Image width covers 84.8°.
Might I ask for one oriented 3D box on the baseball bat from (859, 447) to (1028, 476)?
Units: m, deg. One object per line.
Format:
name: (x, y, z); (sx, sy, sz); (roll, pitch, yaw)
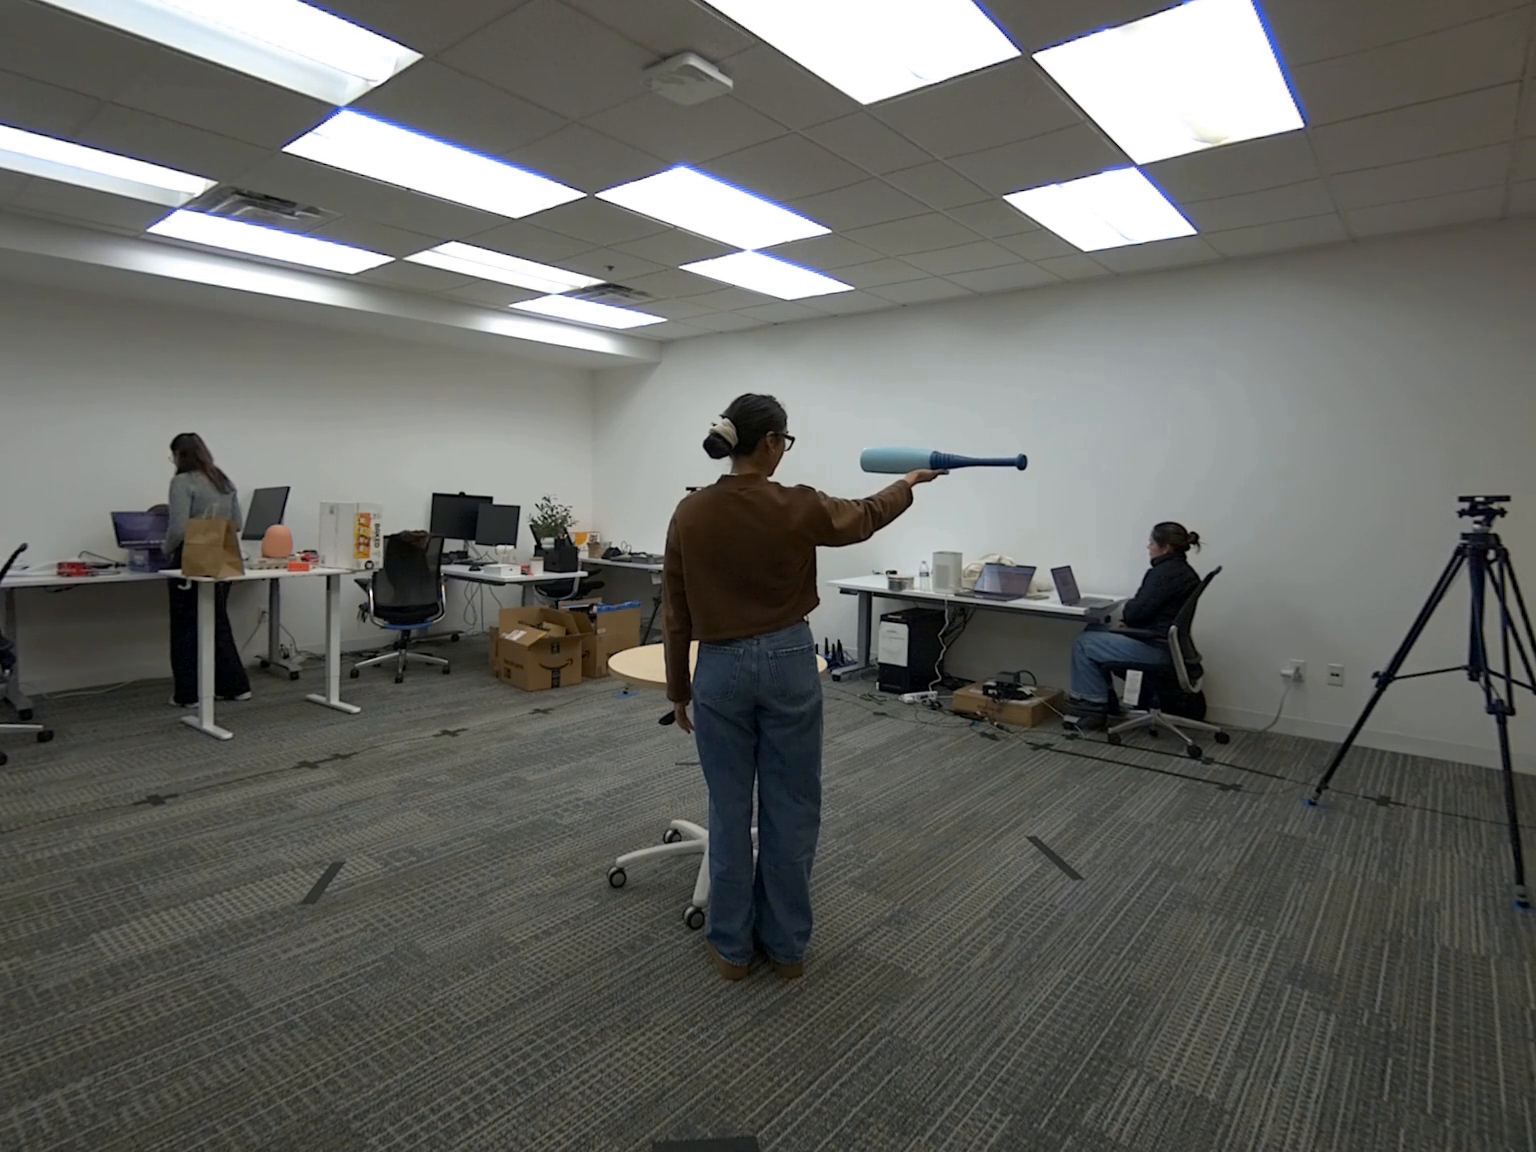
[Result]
baseball bat: (0.543, -0.369, 2.722); (0.561, 0.089, 0.086); (7, 7, 35)
